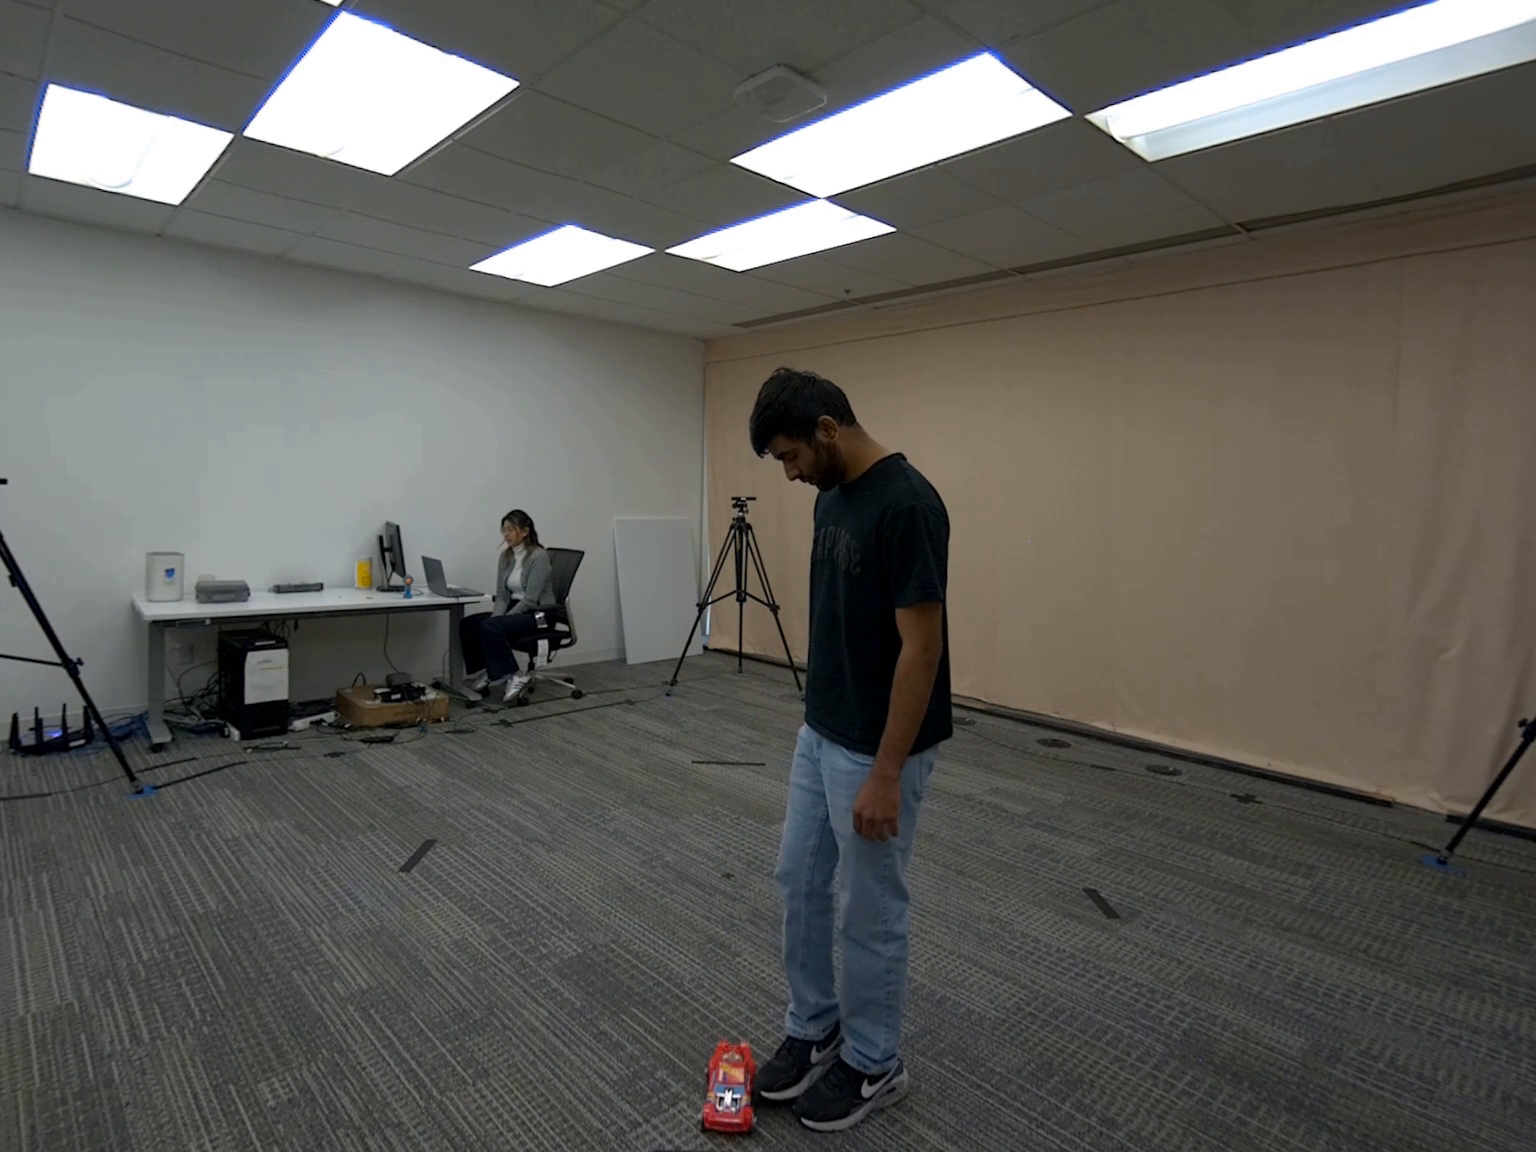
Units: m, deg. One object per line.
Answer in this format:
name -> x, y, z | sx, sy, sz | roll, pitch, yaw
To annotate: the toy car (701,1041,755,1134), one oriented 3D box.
toy car -> -0.089, 1.181, 1.950 | 0.131, 0.082, 0.256 | 0, 15, 2
